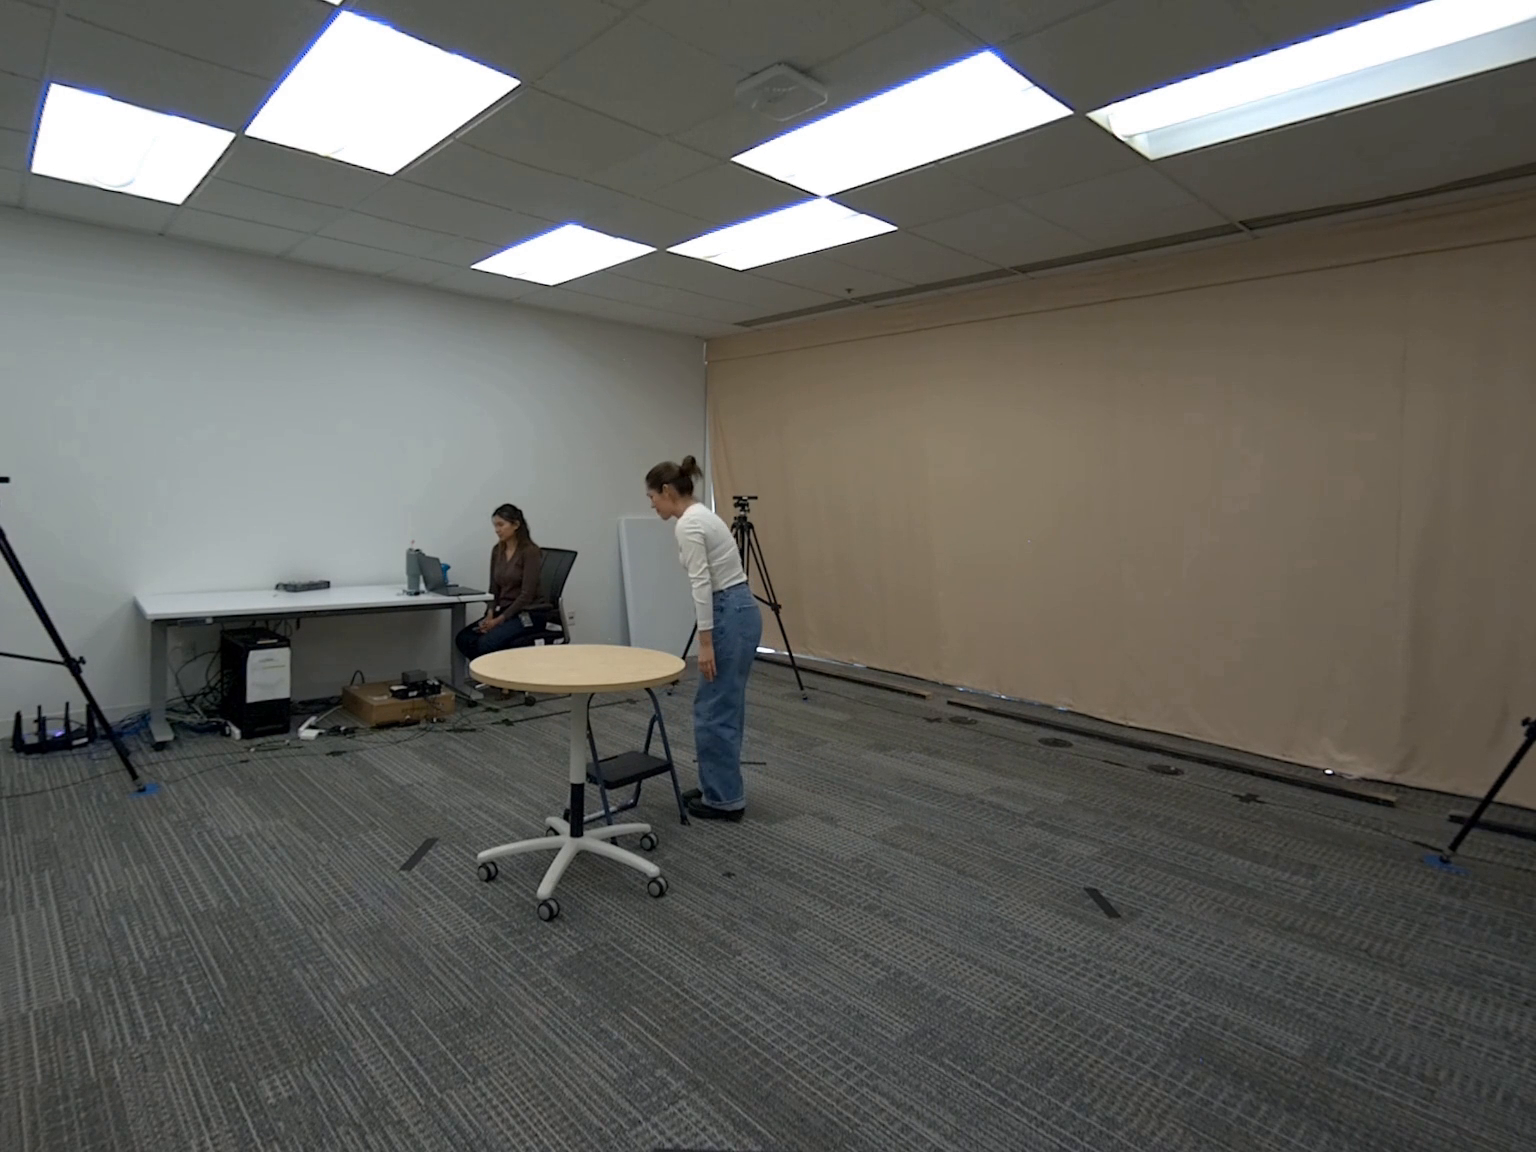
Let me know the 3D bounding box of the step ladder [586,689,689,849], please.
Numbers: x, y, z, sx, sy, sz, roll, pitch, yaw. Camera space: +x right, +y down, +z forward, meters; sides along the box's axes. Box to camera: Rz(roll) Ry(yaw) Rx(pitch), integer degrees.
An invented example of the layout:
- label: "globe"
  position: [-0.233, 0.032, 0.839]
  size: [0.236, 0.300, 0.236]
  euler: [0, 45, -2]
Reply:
- label: "step ladder"
  position: [-0.589, 0.749, 3.518]
  size: [0.358, 0.605, 0.421]
  euler: [4, 4, 38]
